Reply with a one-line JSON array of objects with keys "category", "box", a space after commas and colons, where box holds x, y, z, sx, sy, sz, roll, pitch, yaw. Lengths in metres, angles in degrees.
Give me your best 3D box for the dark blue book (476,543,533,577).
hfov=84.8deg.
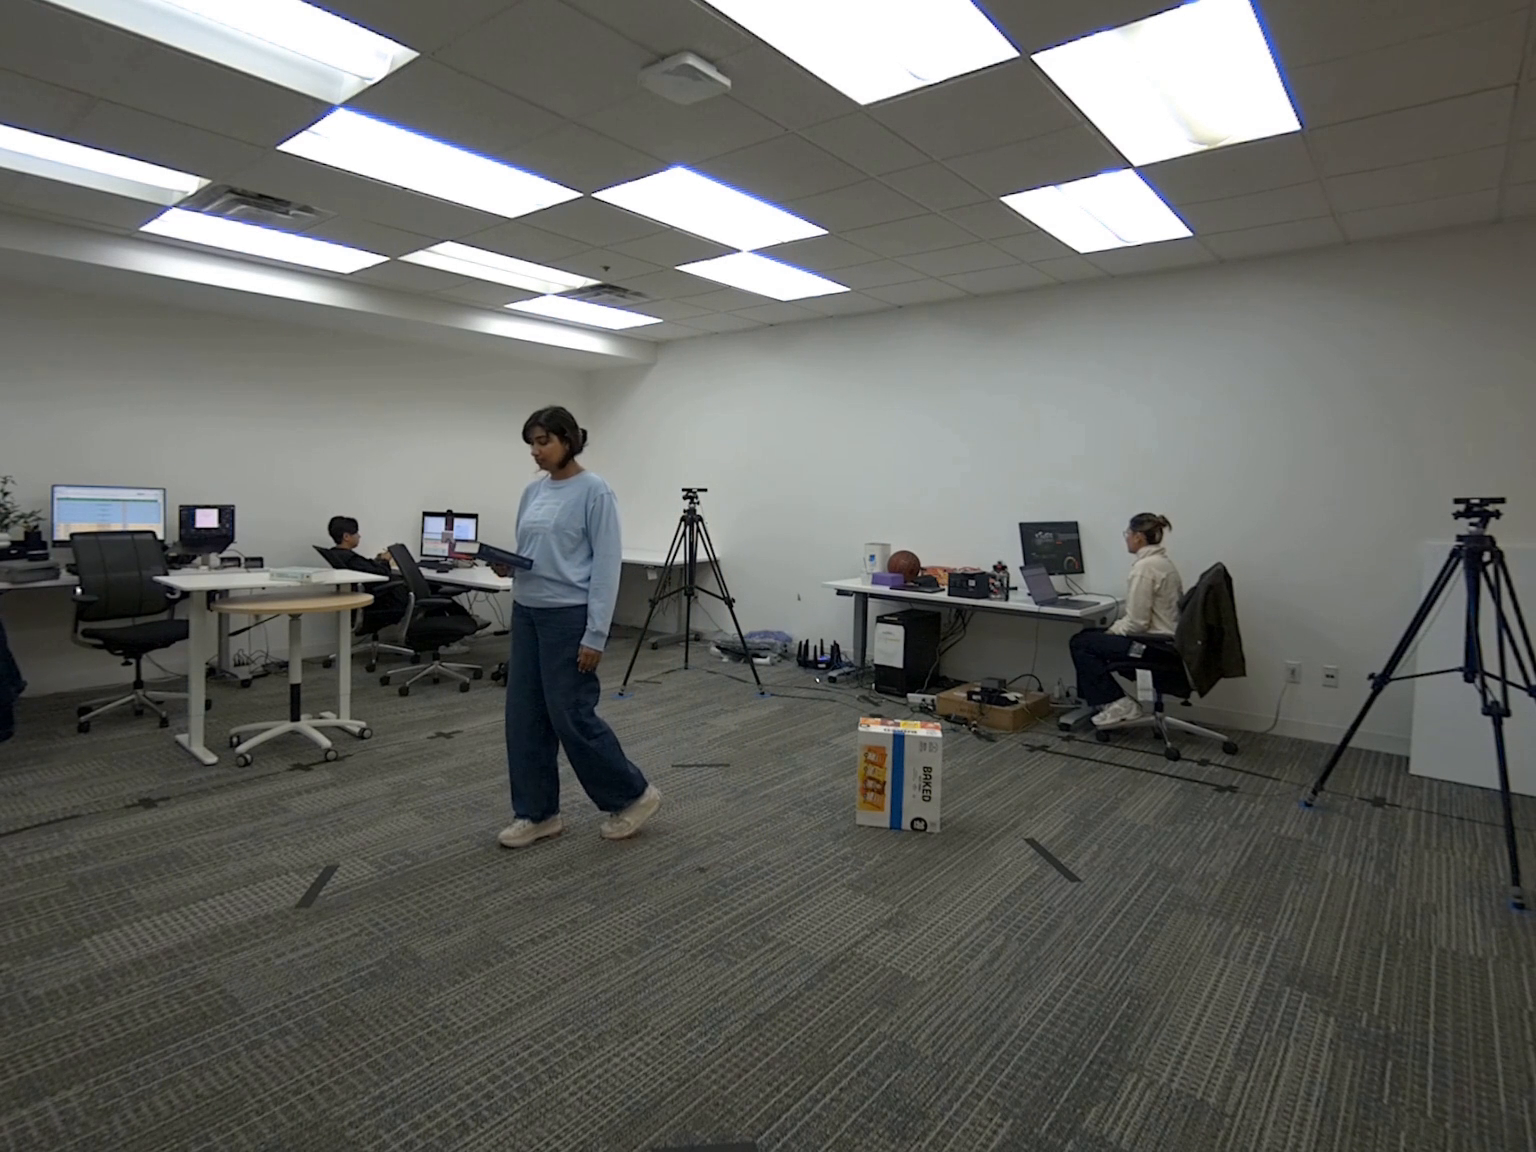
[{"category": "dark blue book", "box": [-1.049, -0.081, 3.136, 0.169, 0.045, 0.235, 8, -9, 42]}]
